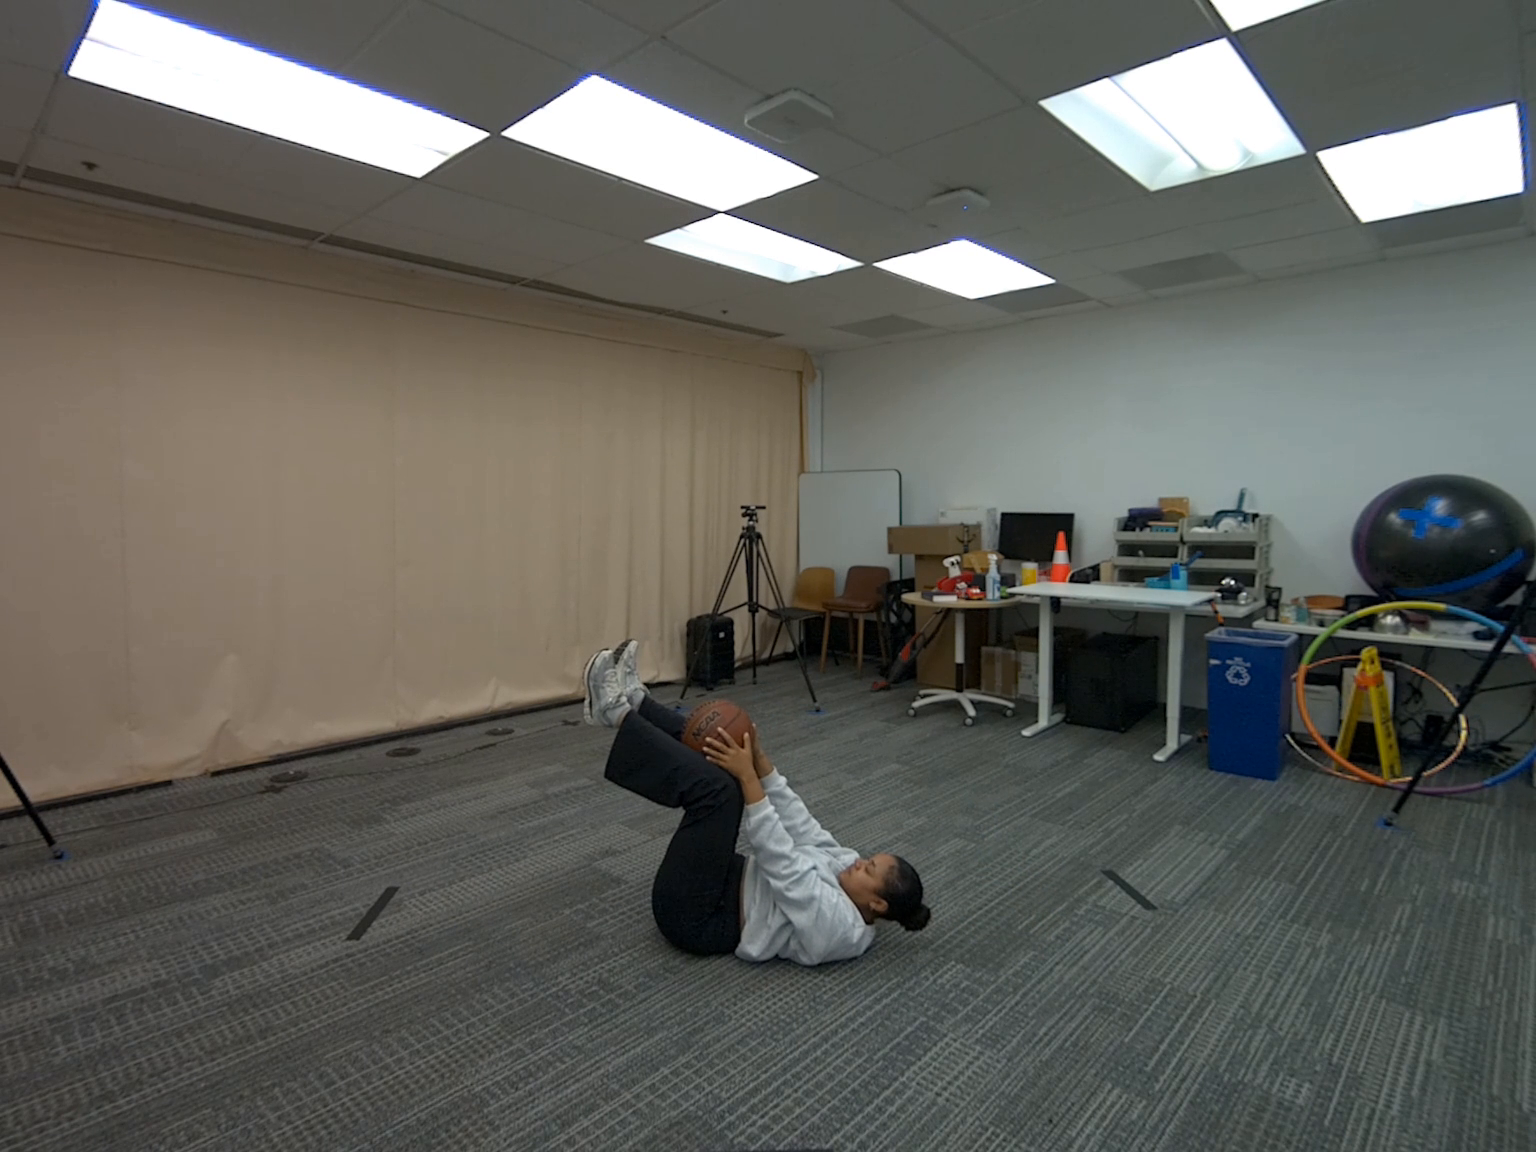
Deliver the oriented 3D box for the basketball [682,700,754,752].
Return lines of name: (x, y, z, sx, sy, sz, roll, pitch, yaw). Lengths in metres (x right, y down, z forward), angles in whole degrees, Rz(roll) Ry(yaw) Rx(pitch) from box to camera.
basketball: (-0.154, 0.515, 2.709, 0.235, 0.235, 0.237, 1, 4, -2)
